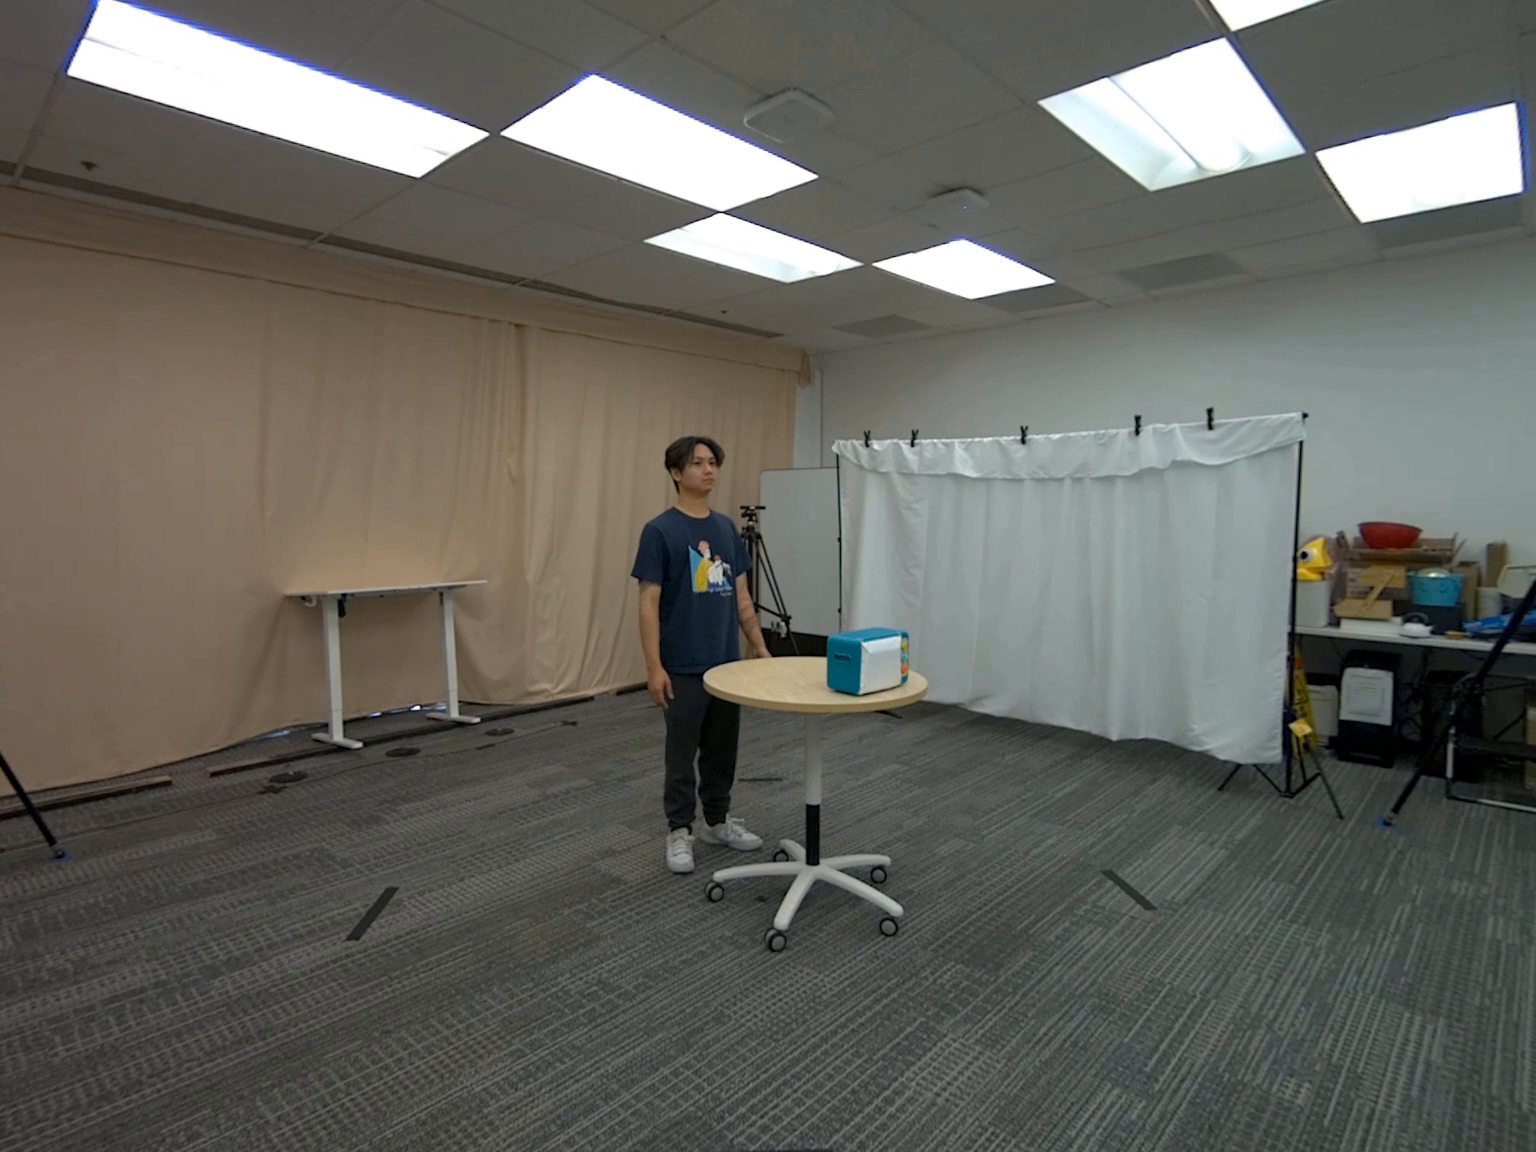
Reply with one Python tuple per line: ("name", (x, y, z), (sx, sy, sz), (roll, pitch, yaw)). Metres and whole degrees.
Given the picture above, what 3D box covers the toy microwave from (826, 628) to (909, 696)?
("toy microwave", (0.340, 0.277, 2.735), (0.277, 0.184, 0.157), (-4, 6, -44))
